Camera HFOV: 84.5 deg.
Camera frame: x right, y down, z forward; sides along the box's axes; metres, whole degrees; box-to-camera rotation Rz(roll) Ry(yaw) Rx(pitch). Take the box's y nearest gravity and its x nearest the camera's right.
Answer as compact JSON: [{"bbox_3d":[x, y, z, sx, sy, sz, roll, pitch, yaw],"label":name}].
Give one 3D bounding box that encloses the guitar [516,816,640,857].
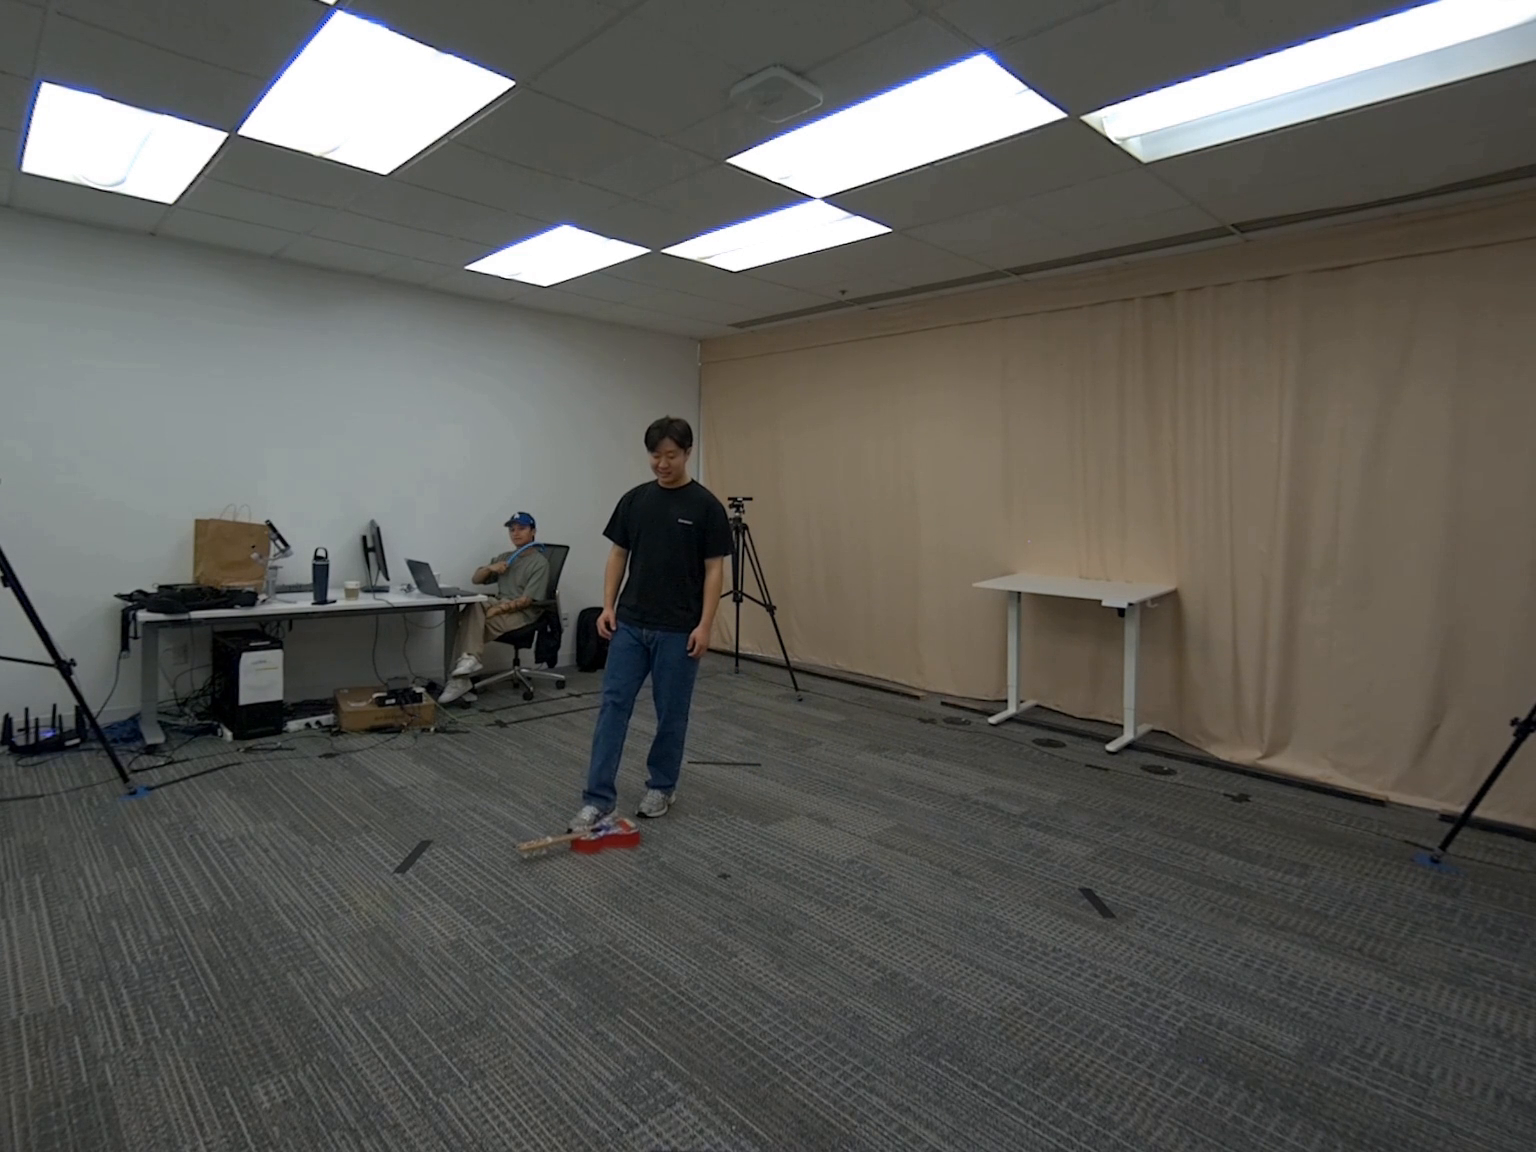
[{"bbox_3d":[-0.770,1.040,3.333,0.488,0.070,0.197,-1,6,-28],"label":"guitar"}]
